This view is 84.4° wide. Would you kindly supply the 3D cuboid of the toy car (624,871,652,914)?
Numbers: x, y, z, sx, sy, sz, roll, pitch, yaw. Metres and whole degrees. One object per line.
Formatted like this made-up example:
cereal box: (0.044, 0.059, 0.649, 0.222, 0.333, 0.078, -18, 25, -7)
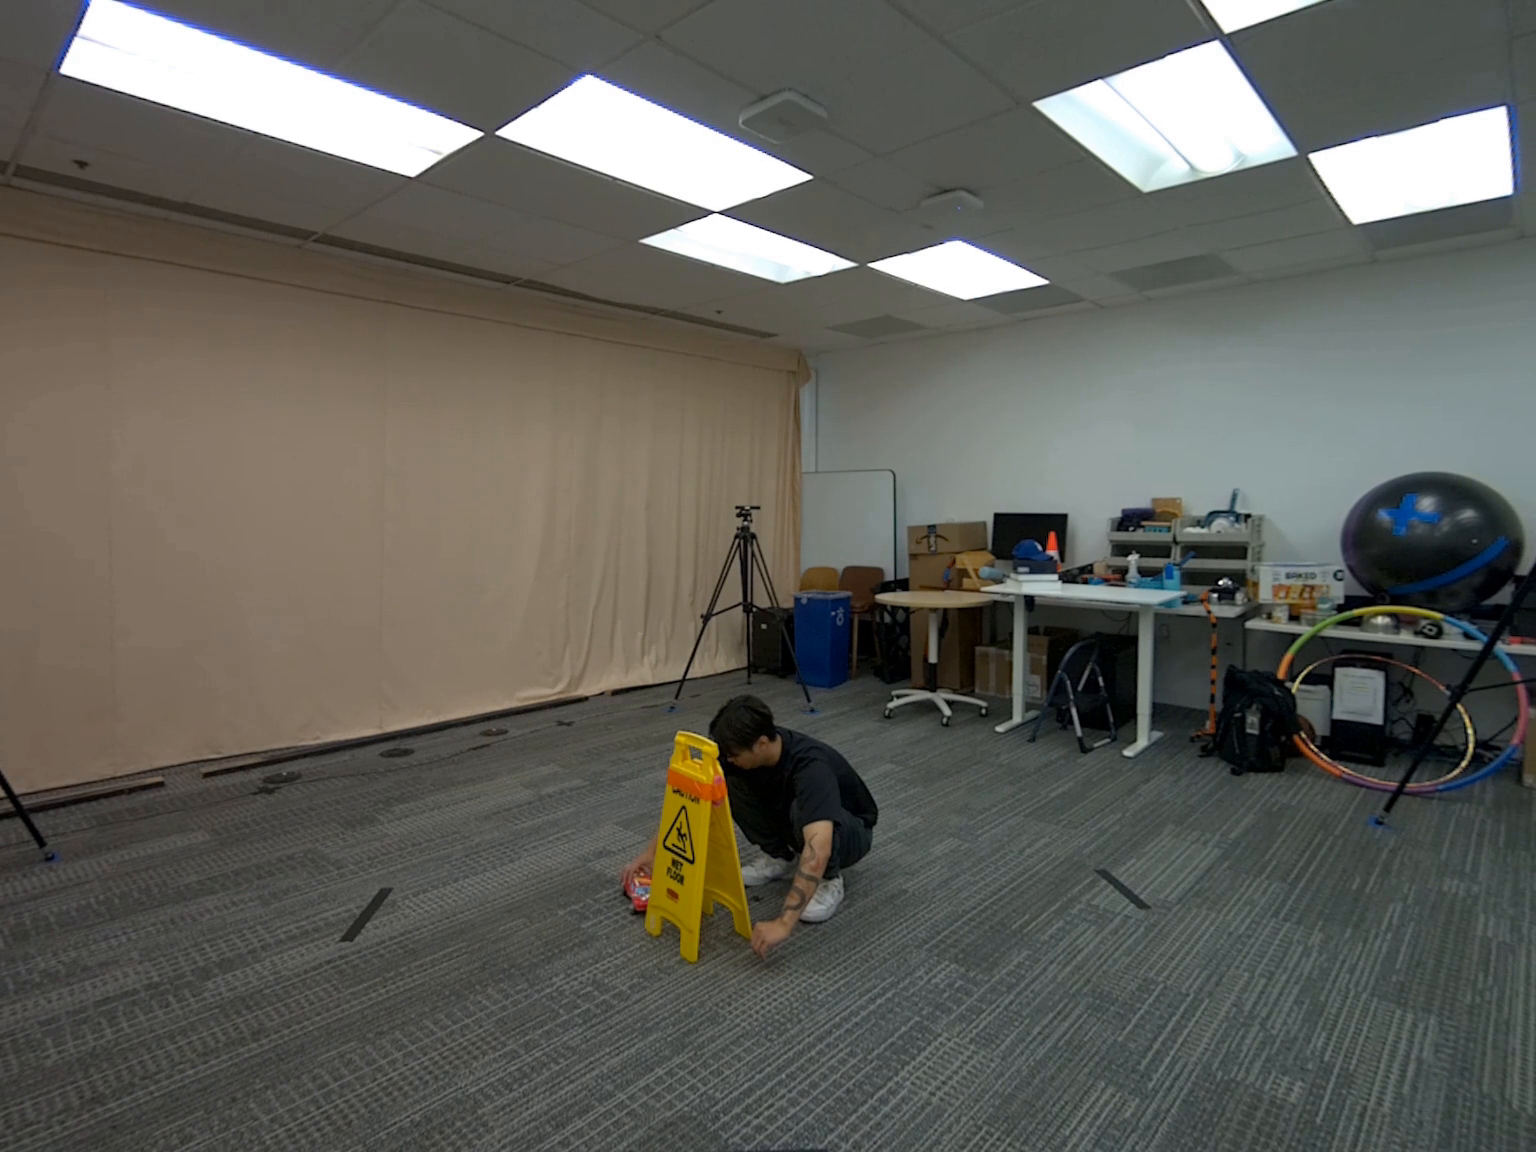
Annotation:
toy car: (-0.438, 1.114, 2.995, 0.128, 0.082, 0.260, -4, 13, -17)
